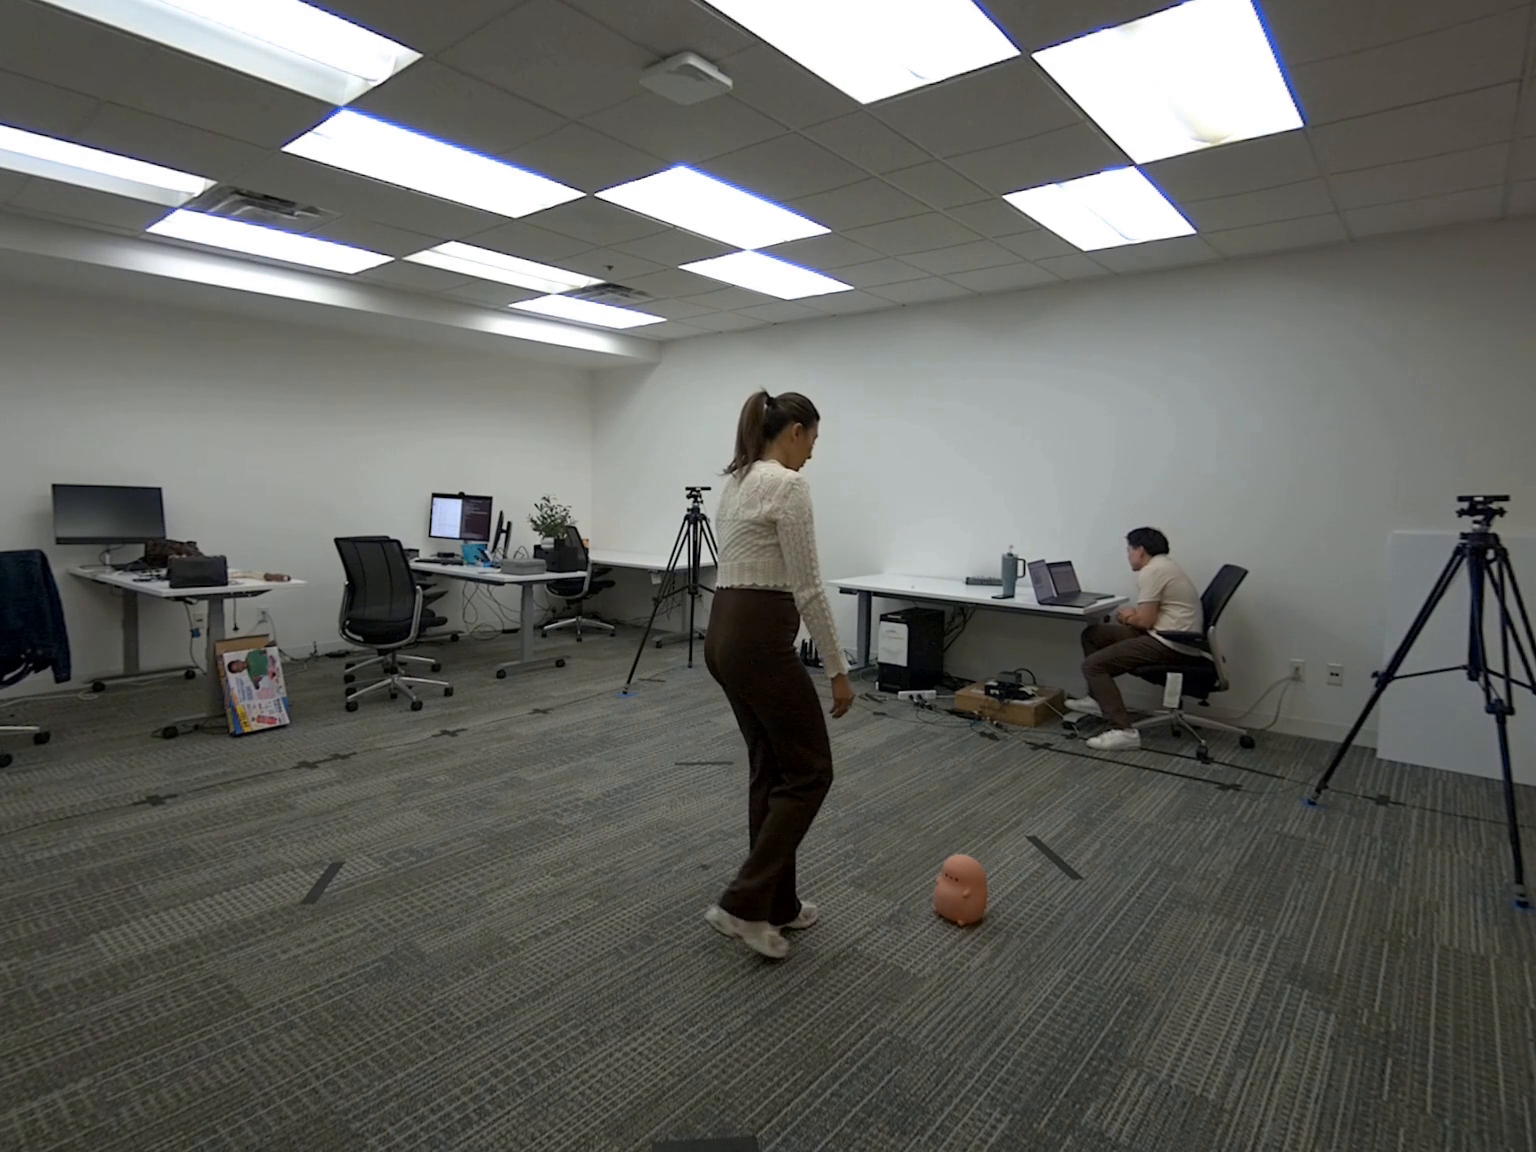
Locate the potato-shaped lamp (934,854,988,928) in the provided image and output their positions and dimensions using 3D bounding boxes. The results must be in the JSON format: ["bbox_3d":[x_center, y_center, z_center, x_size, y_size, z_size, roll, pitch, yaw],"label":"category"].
[{"bbox_3d":[0.627,1.015,2.795,0.166,0.198,0.170,-1,3,-40],"label":"potato-shaped lamp"}]
